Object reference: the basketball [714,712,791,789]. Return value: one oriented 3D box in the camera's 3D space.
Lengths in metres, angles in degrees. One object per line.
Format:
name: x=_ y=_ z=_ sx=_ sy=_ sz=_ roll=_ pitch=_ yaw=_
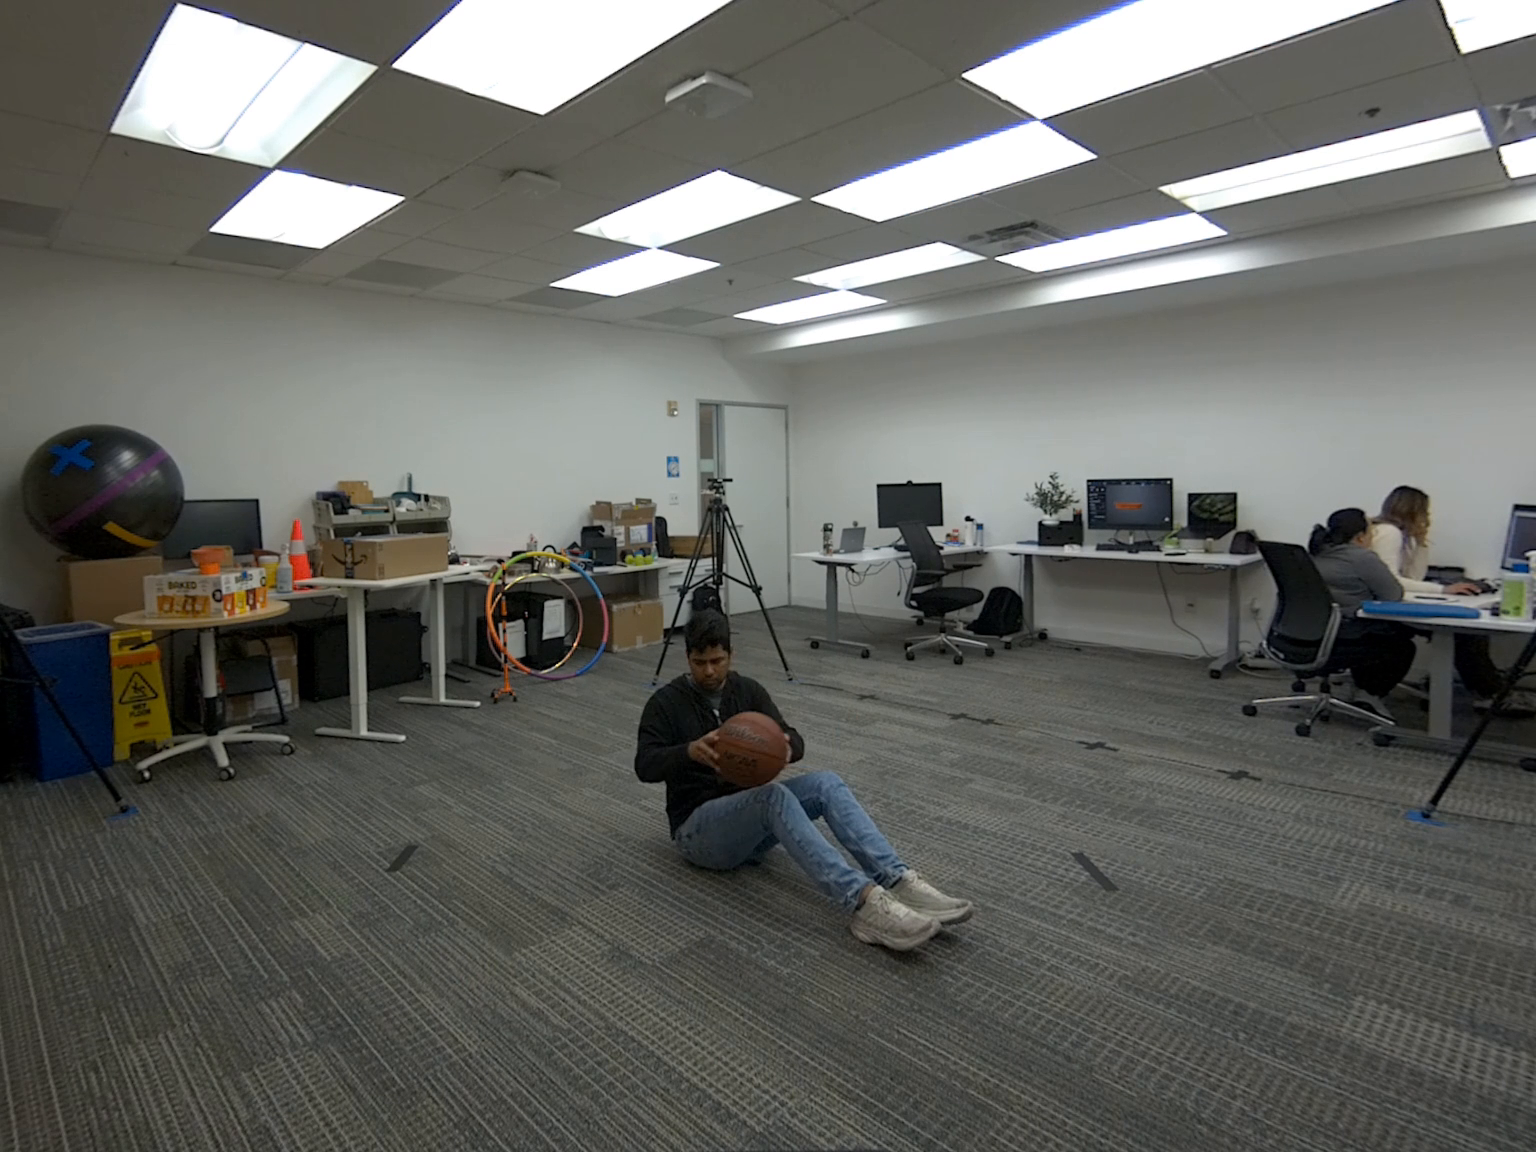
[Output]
basketball: x=-0.046 y=0.572 z=2.811 sx=0.236 sy=0.235 sz=0.237 roll=-1 pitch=5 yaw=-2
